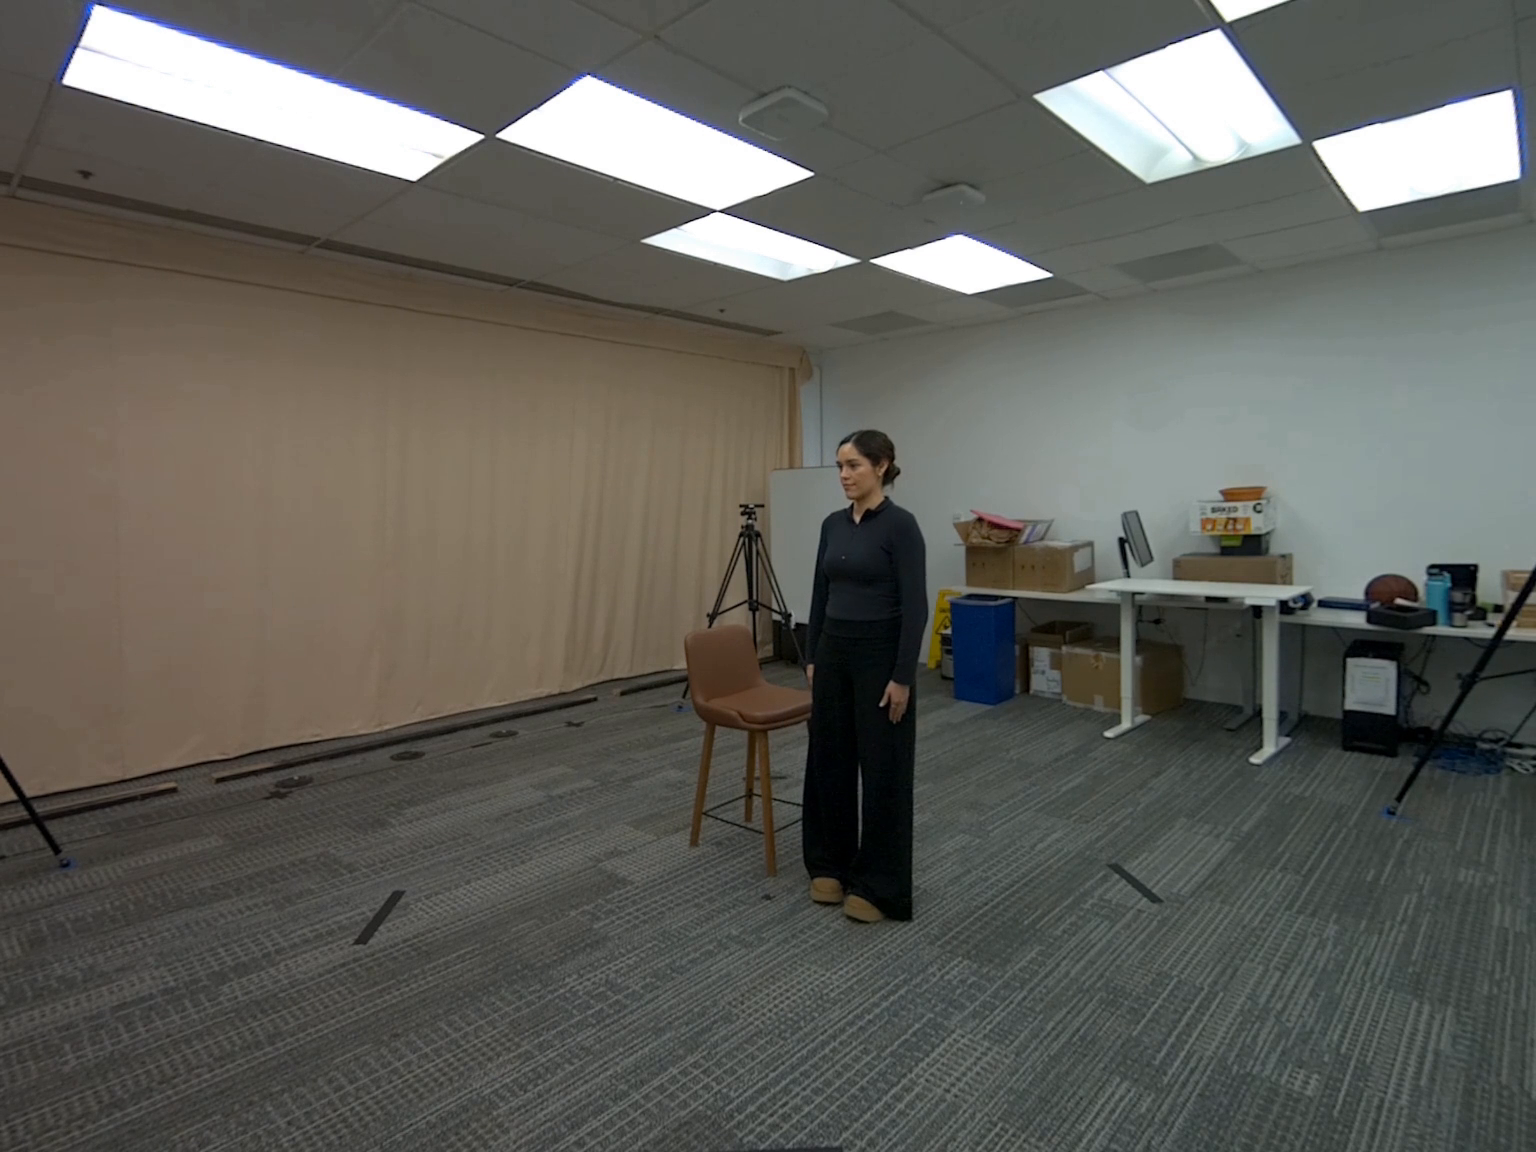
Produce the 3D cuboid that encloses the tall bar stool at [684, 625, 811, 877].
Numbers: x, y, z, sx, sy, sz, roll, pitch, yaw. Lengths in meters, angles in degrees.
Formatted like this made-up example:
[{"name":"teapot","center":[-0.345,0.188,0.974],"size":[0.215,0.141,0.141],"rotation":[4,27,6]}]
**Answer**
[{"name":"tall bar stool","center":[-0.045,0.666,3.426],"size":[0.482,0.889,0.443],"rotation":[-1,2,41]}]
